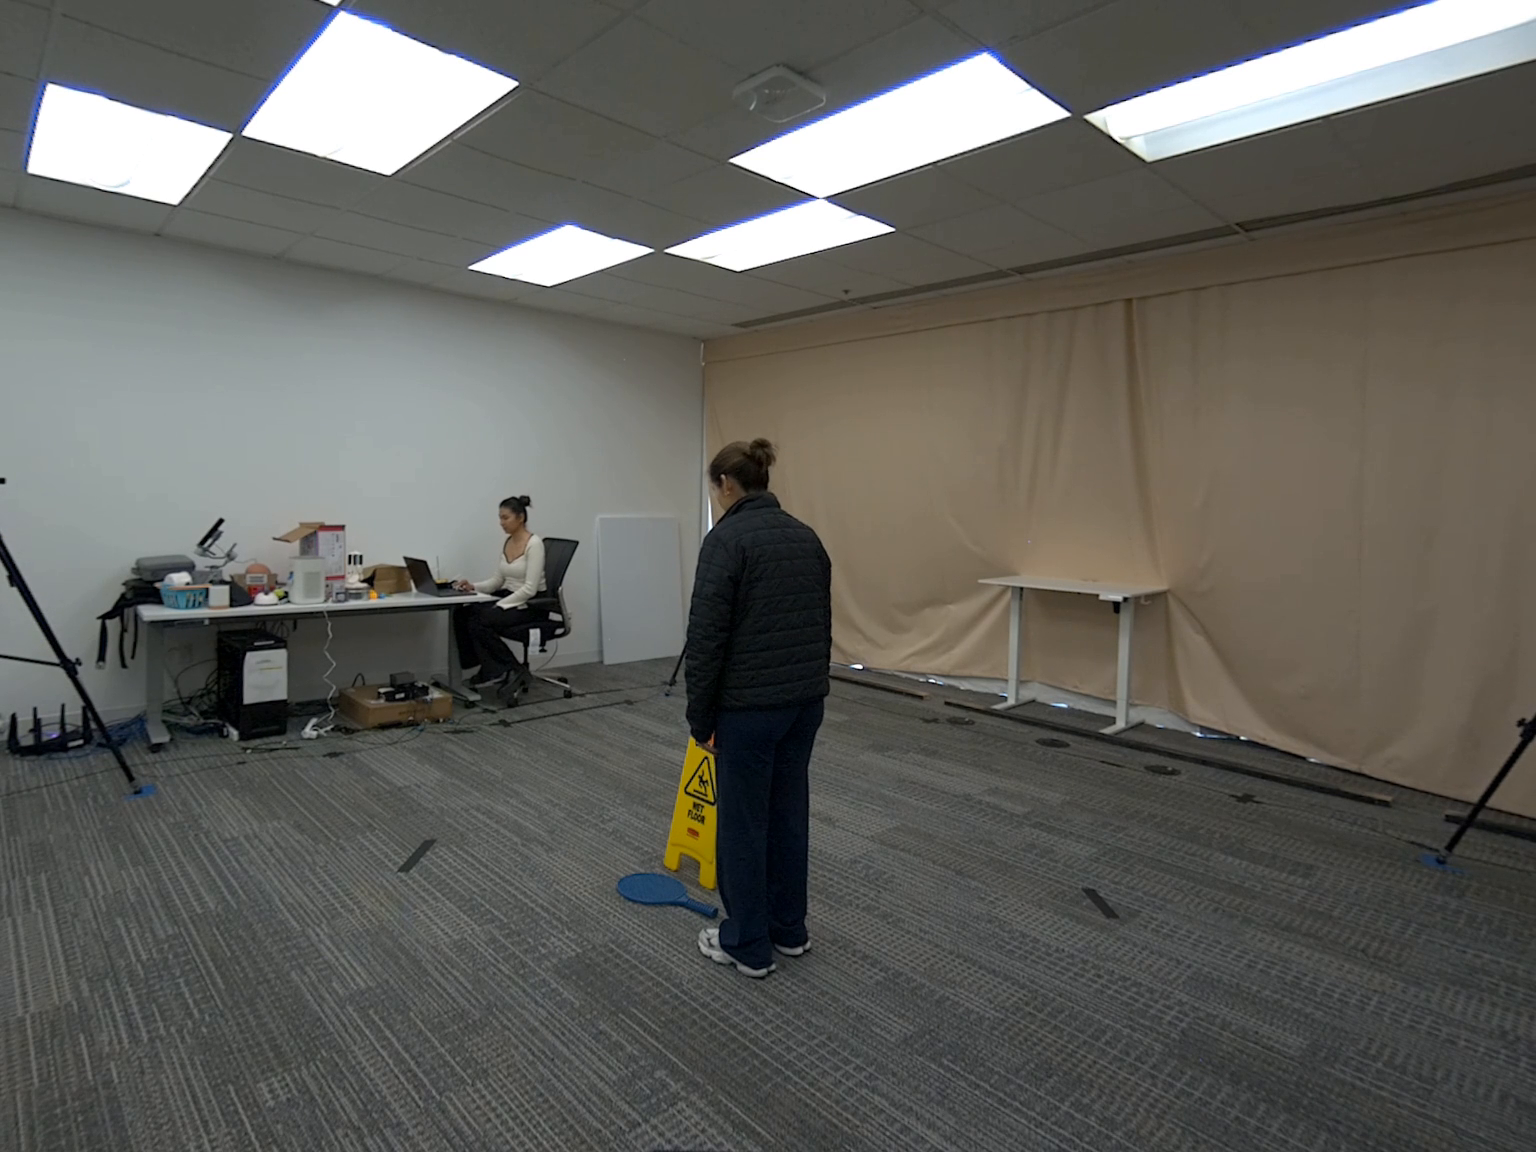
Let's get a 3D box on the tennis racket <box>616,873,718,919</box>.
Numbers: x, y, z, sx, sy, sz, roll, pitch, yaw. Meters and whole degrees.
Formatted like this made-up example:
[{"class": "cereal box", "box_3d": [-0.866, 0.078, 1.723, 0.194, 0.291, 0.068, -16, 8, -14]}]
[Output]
[{"class": "tennis racket", "box_3d": [-0.351, 1.110, 2.911, 0.443, 0.032, 0.209, 2, 6, 36]}]
